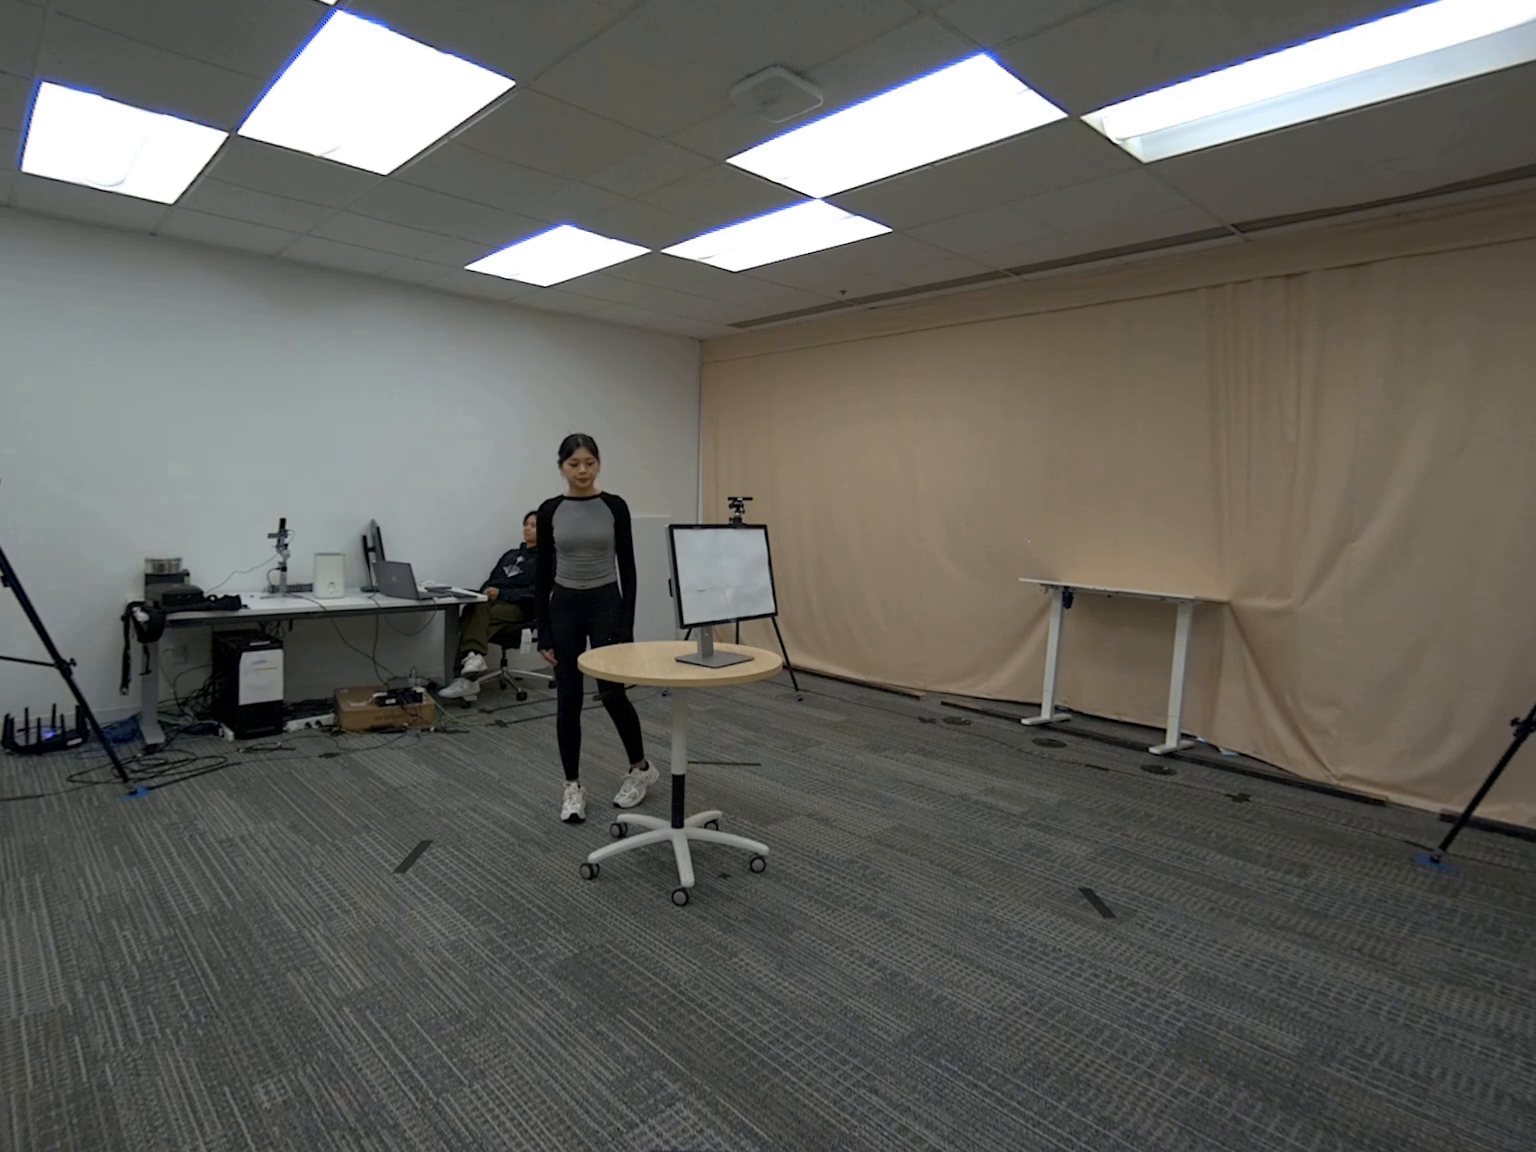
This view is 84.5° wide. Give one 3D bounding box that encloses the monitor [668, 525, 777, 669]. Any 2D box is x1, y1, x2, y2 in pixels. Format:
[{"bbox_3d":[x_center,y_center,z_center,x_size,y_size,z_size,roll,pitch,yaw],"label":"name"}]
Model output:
[{"bbox_3d":[-0.191,0.071,3.111,0.179,0.514,0.518,12,8,36],"label":"monitor"}]
